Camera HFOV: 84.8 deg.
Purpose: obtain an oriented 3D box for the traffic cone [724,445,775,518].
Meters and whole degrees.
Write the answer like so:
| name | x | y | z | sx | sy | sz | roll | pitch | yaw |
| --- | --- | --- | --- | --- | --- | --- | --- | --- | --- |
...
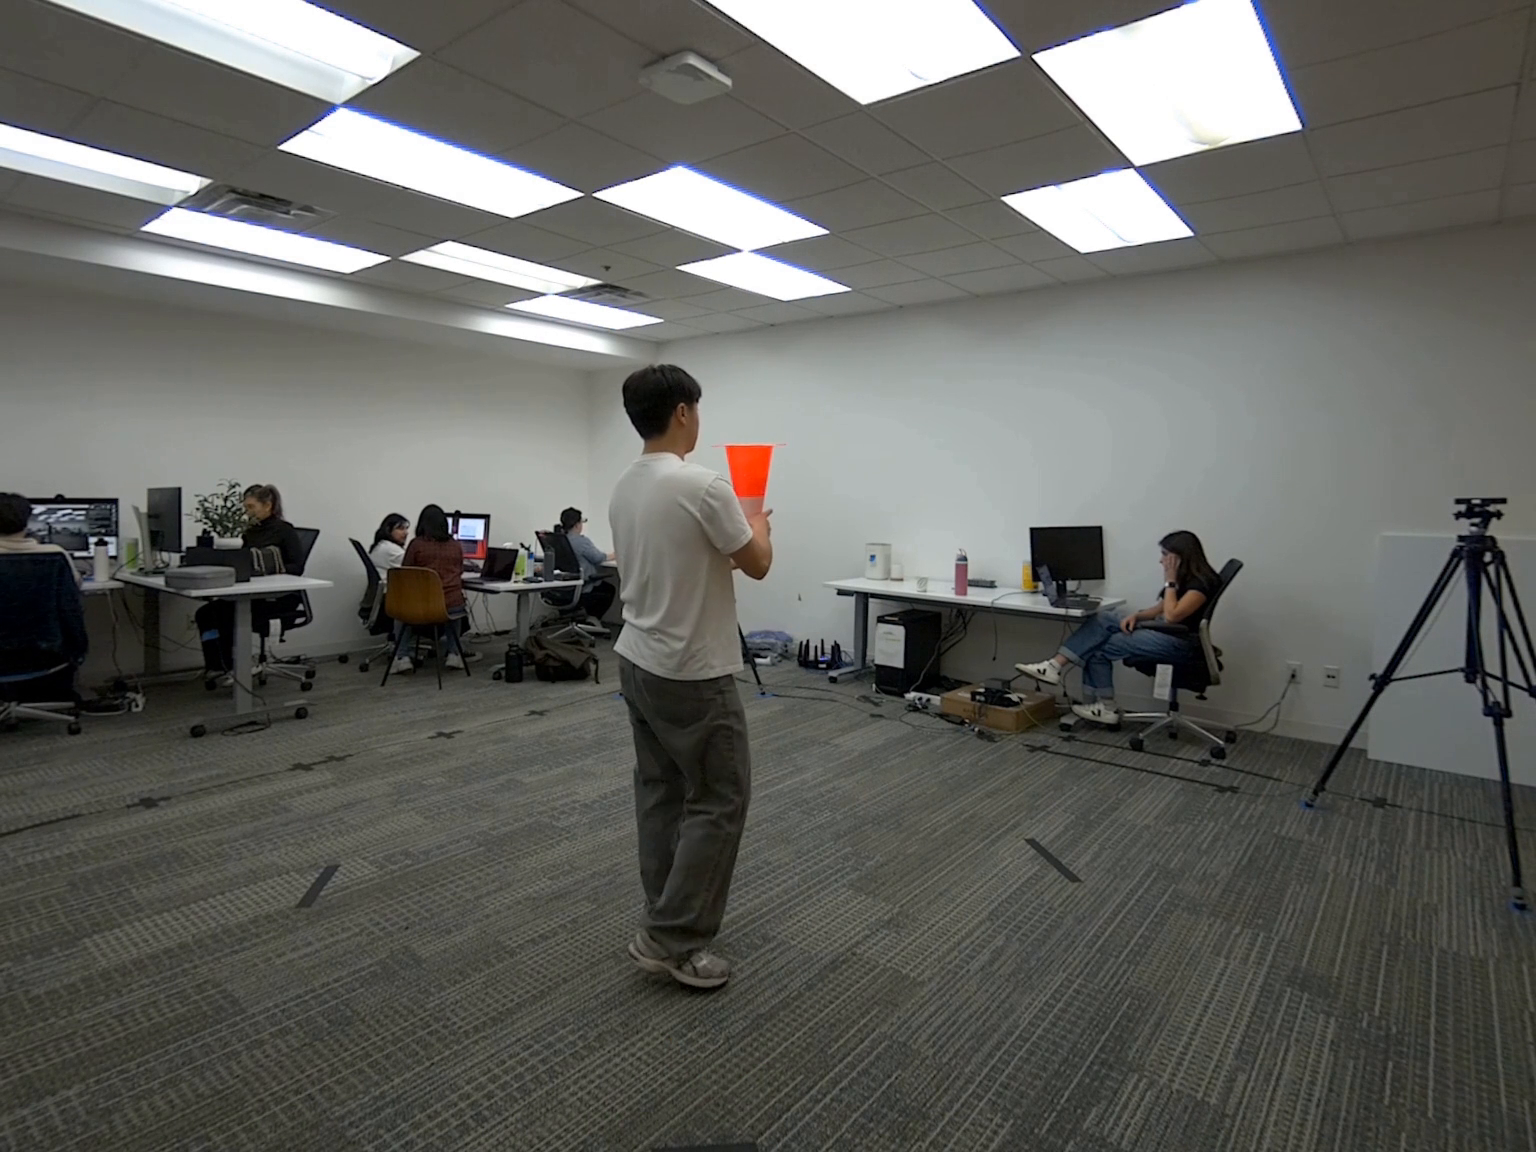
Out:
| name | x | y | z | sx | sy | sz | roll | pitch | yaw |
| --- | --- | --- | --- | --- | --- | --- | --- | --- | --- |
| traffic cone | -0.061 | -0.246 | 2.798 | 0.208 | 0.382 | 0.201 | 2 | 4 | 21 |
